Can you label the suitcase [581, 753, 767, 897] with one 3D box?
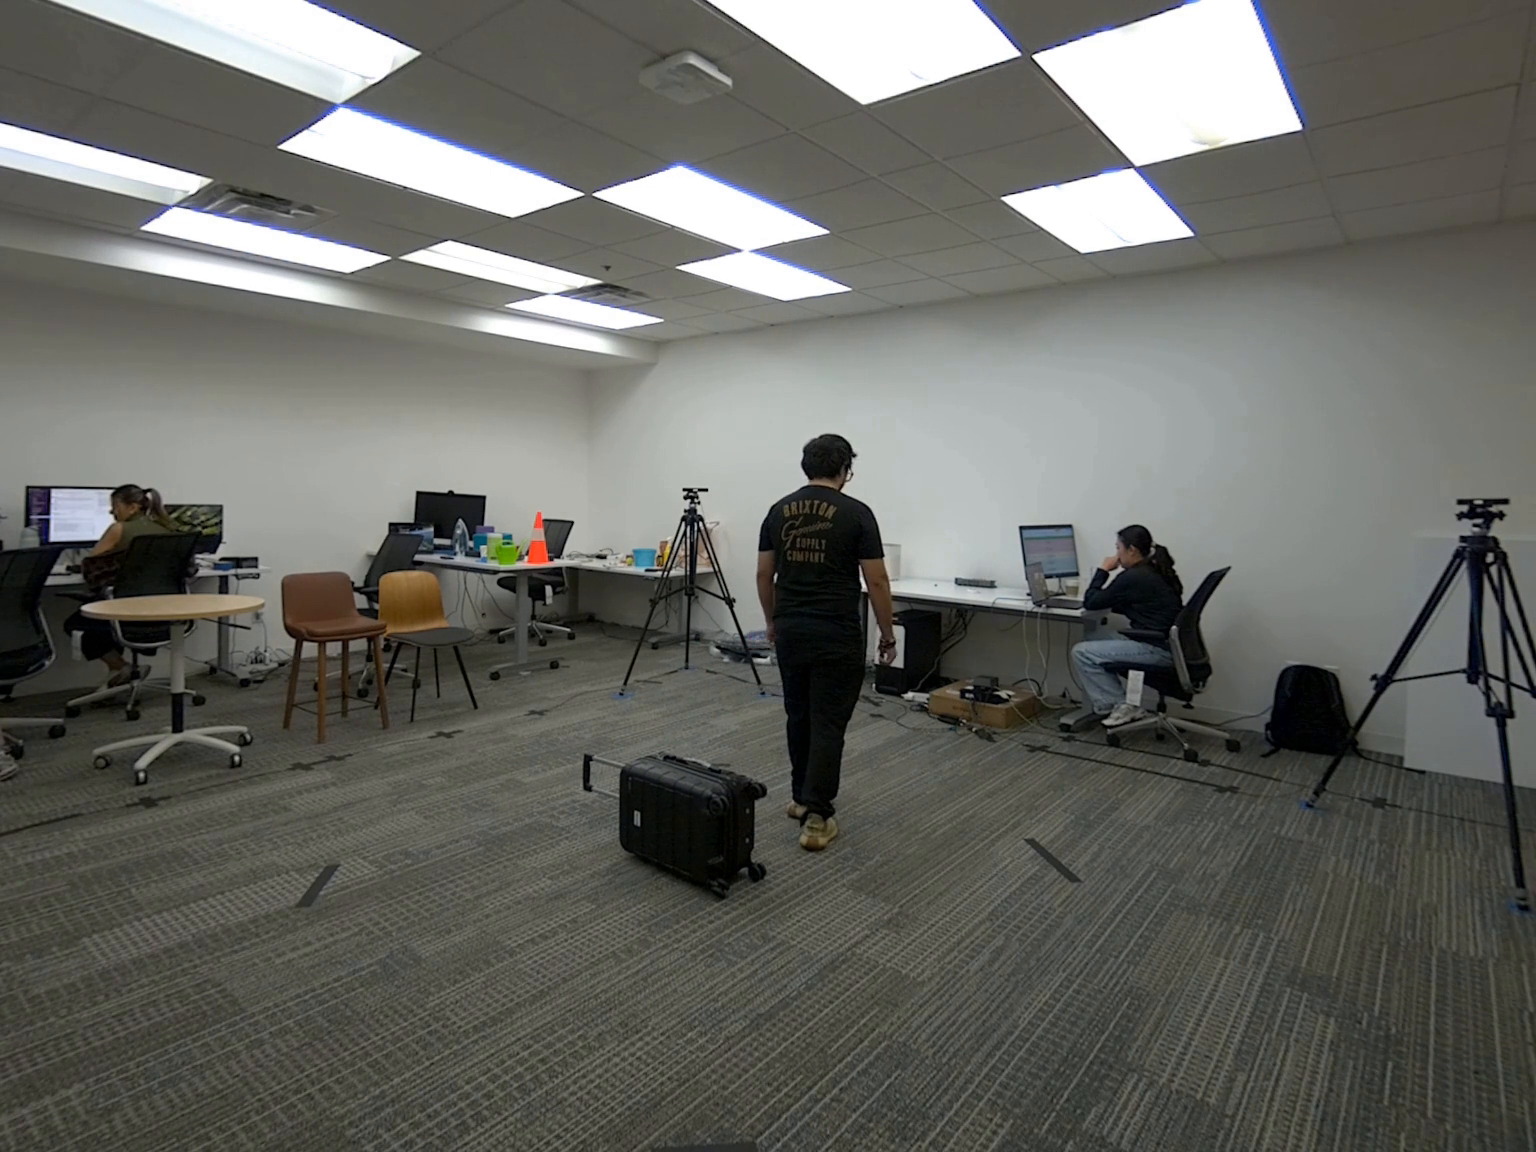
[{"bbox_3d":[-0.471,0.865,3.250,1.011,0.383,0.249,4,4,39],"label":"suitcase"}]
